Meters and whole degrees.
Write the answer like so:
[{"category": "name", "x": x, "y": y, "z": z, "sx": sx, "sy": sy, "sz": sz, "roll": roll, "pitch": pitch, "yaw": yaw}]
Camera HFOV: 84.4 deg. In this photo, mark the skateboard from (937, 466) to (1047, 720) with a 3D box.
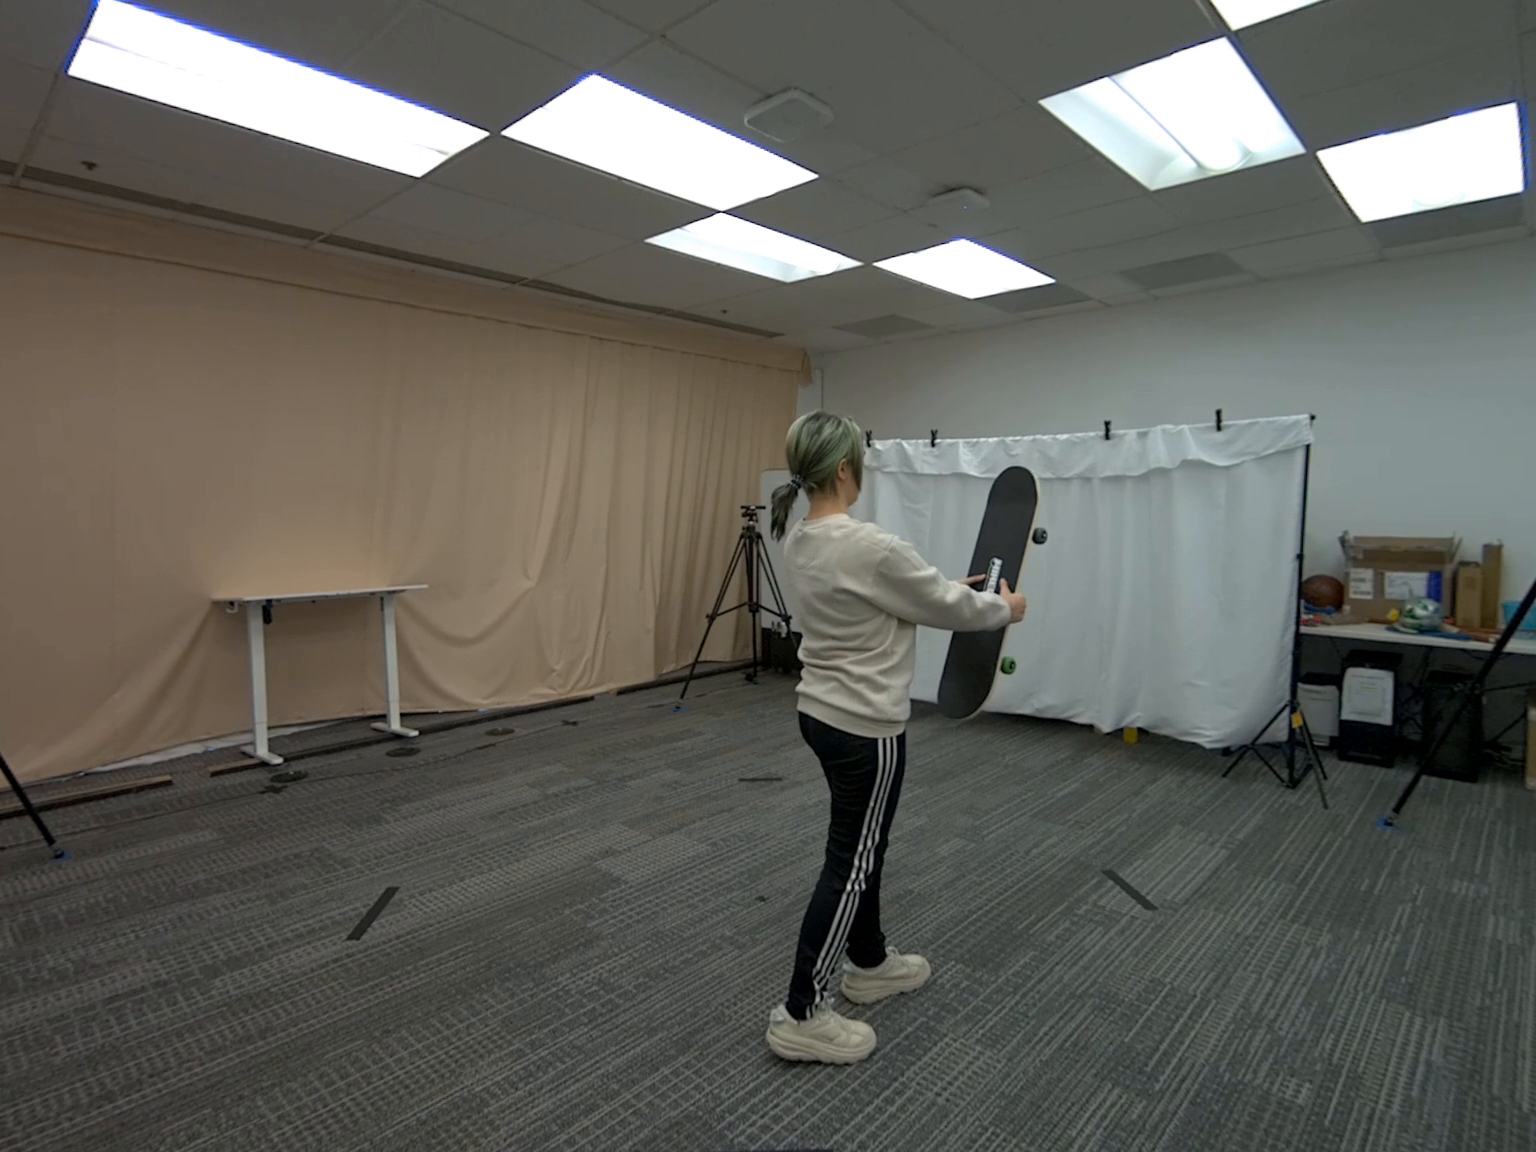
[{"category": "skateboard", "x": 0.688, "y": 0.059, "z": 2.503, "sx": 0.107, "sy": 0.787, "sz": 0.199, "roll": 23, "pitch": -11, "yaw": -34}]
